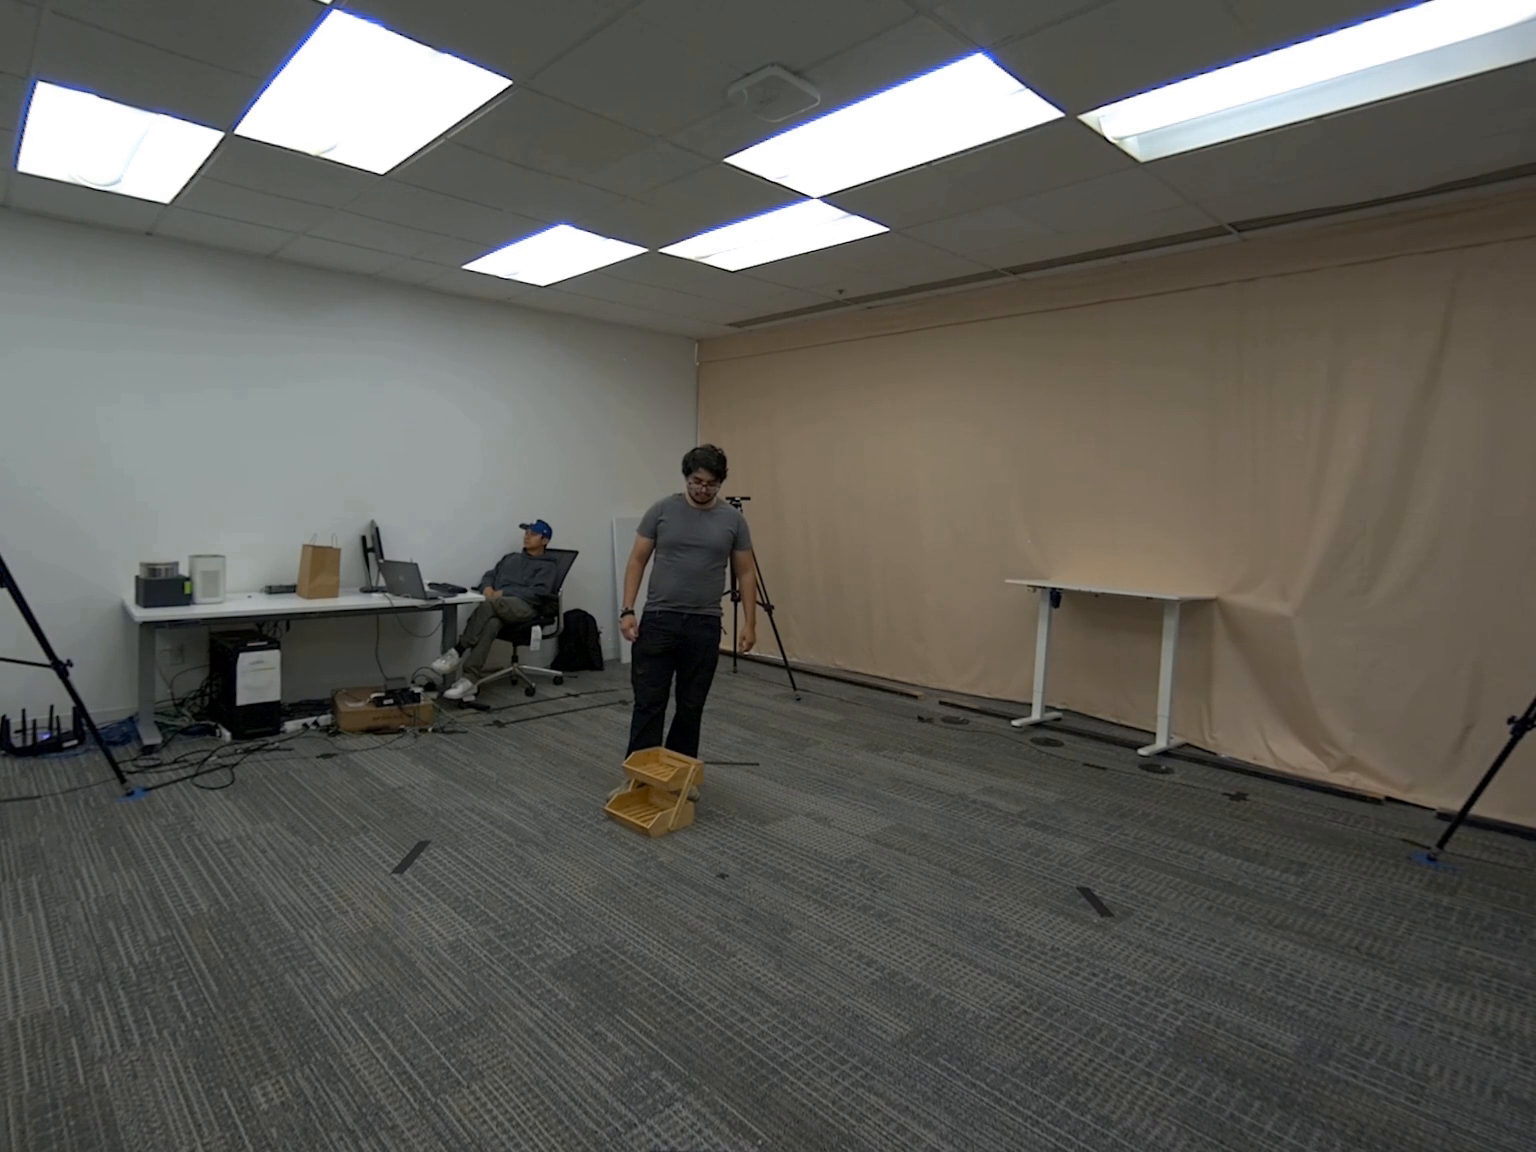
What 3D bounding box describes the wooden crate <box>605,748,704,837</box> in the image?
[{"bbox_3d":[-0.507,0.922,3.627,0.333,0.273,0.295,6,5,44],"label":"wooden crate"}]
